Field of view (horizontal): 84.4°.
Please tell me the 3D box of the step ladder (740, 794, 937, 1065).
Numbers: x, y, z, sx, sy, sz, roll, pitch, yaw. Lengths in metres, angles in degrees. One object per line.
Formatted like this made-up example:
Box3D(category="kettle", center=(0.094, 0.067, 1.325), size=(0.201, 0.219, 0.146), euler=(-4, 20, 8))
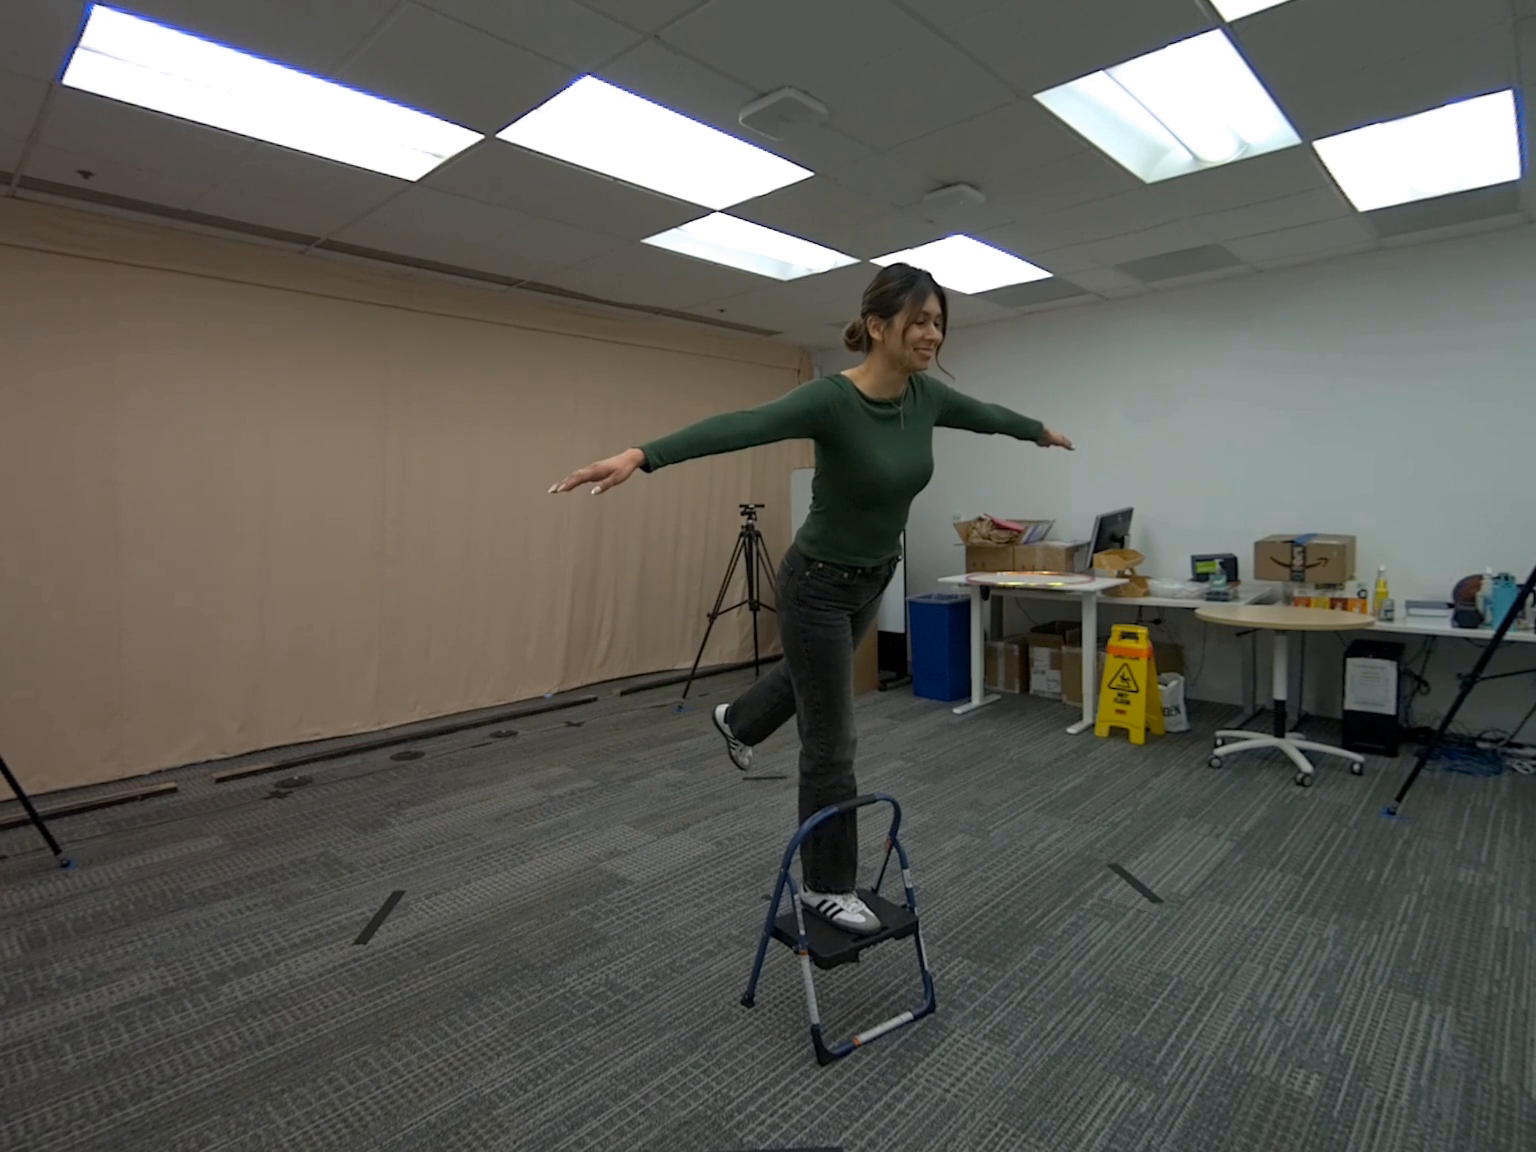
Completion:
Box3D(category="step ladder", center=(0.196, 0.893, 2.316), size=(0.418, 0.604, 0.360), euler=(-4, 5, -36))
